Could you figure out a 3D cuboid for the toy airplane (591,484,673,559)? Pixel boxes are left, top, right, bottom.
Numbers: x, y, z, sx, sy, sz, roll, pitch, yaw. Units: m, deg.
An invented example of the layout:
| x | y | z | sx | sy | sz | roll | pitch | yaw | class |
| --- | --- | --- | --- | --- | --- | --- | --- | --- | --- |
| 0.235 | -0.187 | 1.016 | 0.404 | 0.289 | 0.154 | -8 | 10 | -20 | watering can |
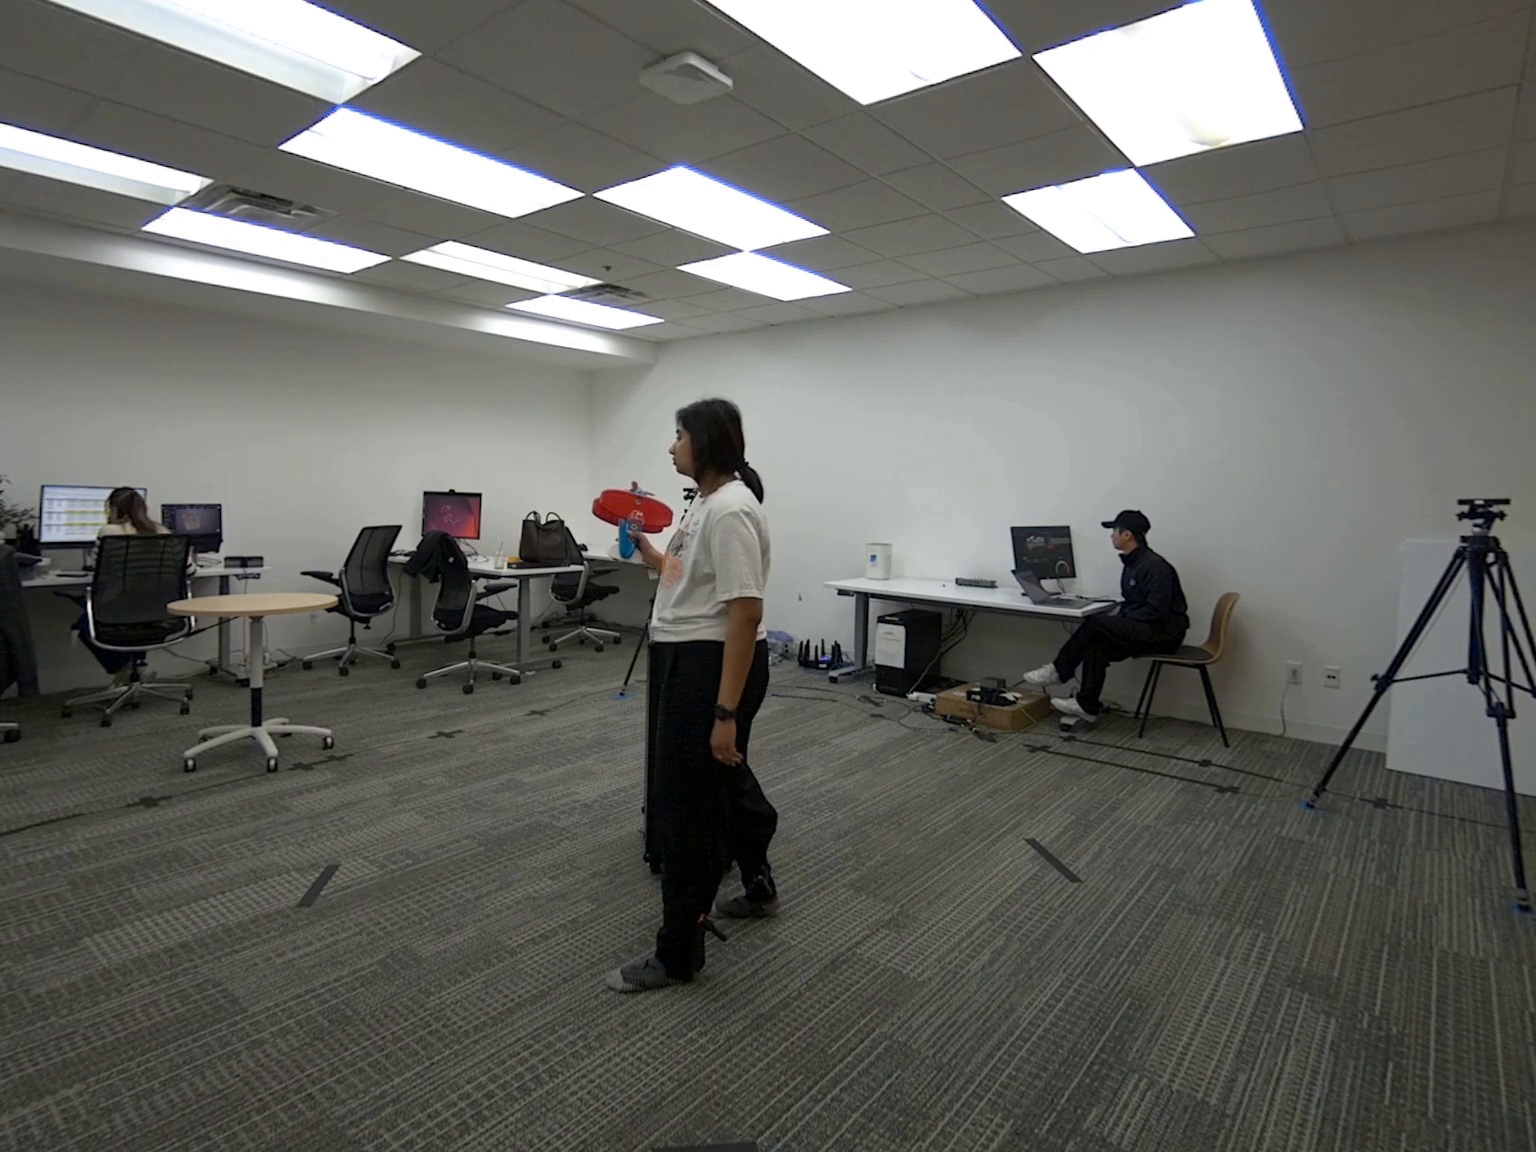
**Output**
| x | y | z | sx | sy | sz | roll | pitch | yaw | class |
| --- | --- | --- | --- | --- | --- | --- | --- | --- | --- |
| -0.449 | -0.174 | 2.822 | 0.245 | 0.265 | 0.156 | -13 | -22 | -36 | toy airplane |
